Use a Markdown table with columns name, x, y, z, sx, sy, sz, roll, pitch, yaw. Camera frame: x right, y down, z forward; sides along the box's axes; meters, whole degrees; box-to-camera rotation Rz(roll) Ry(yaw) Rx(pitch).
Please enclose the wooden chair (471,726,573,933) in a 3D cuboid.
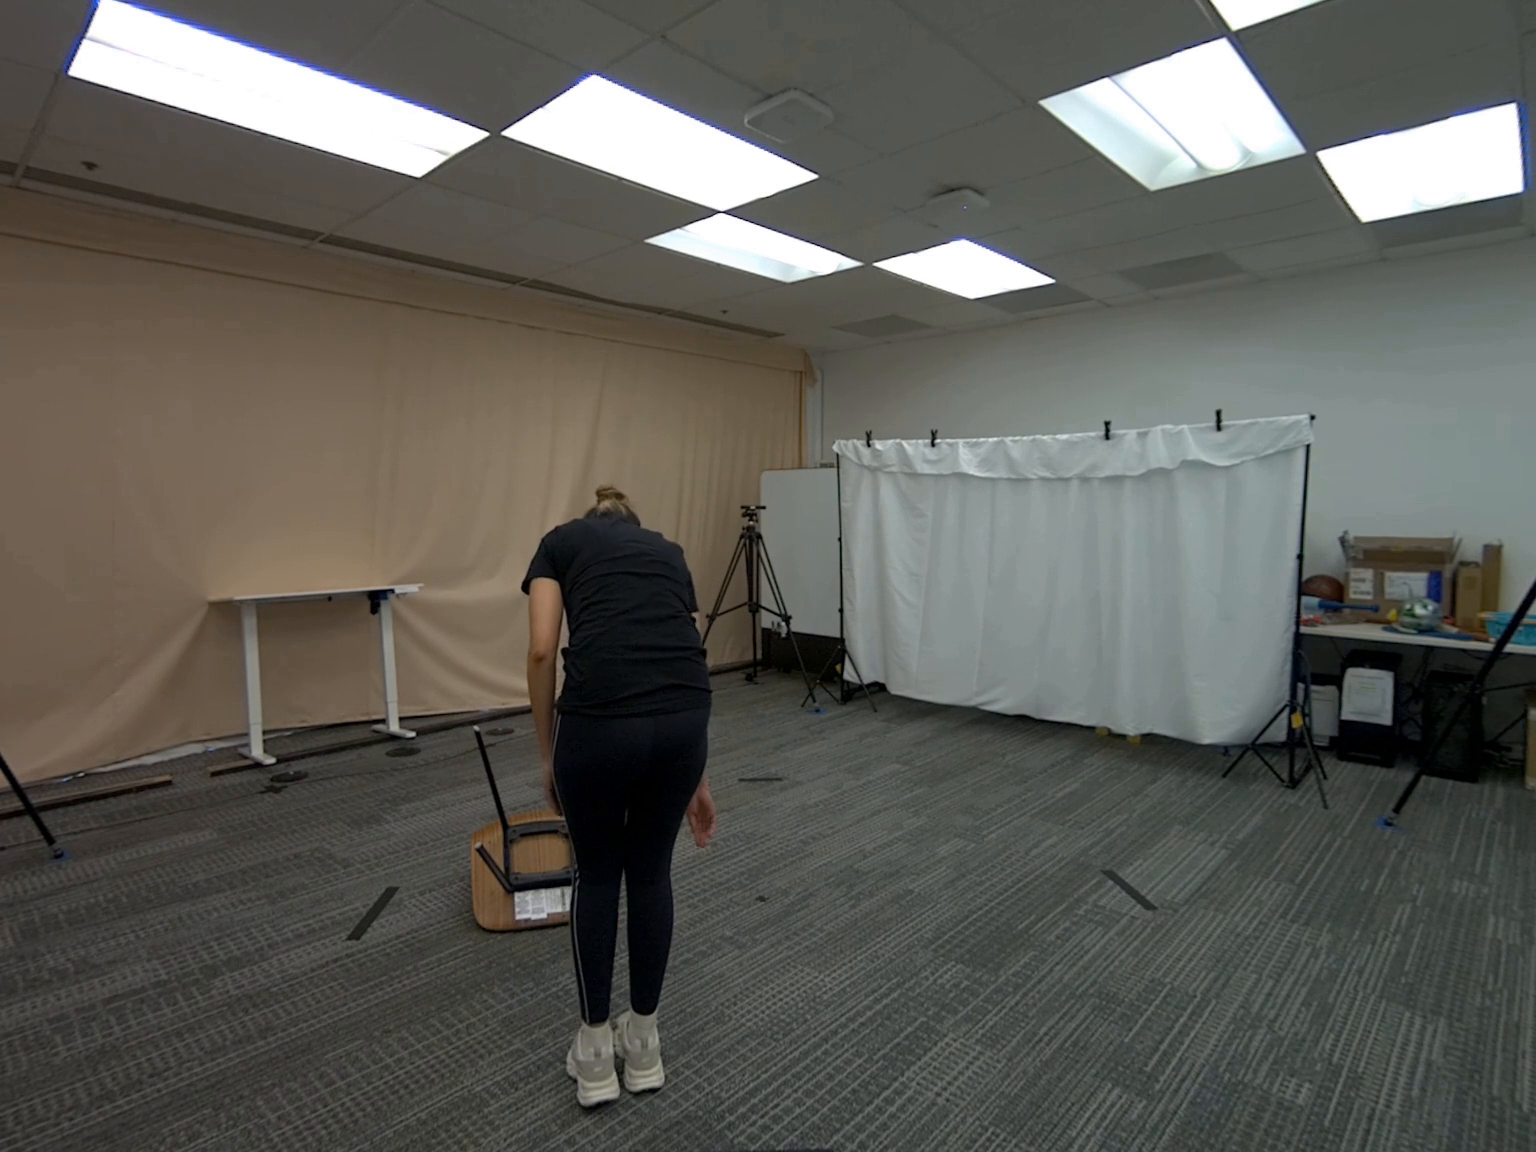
| name | x | y | z | sx | sy | sz | roll | pitch | yaw |
| --- | --- | --- | --- | --- | --- | --- | --- | --- | --- |
| wooden chair | -0.801 | 0.981 | 2.960 | 0.469 | 0.869 | 0.538 | -1 | 44 | -19 |
